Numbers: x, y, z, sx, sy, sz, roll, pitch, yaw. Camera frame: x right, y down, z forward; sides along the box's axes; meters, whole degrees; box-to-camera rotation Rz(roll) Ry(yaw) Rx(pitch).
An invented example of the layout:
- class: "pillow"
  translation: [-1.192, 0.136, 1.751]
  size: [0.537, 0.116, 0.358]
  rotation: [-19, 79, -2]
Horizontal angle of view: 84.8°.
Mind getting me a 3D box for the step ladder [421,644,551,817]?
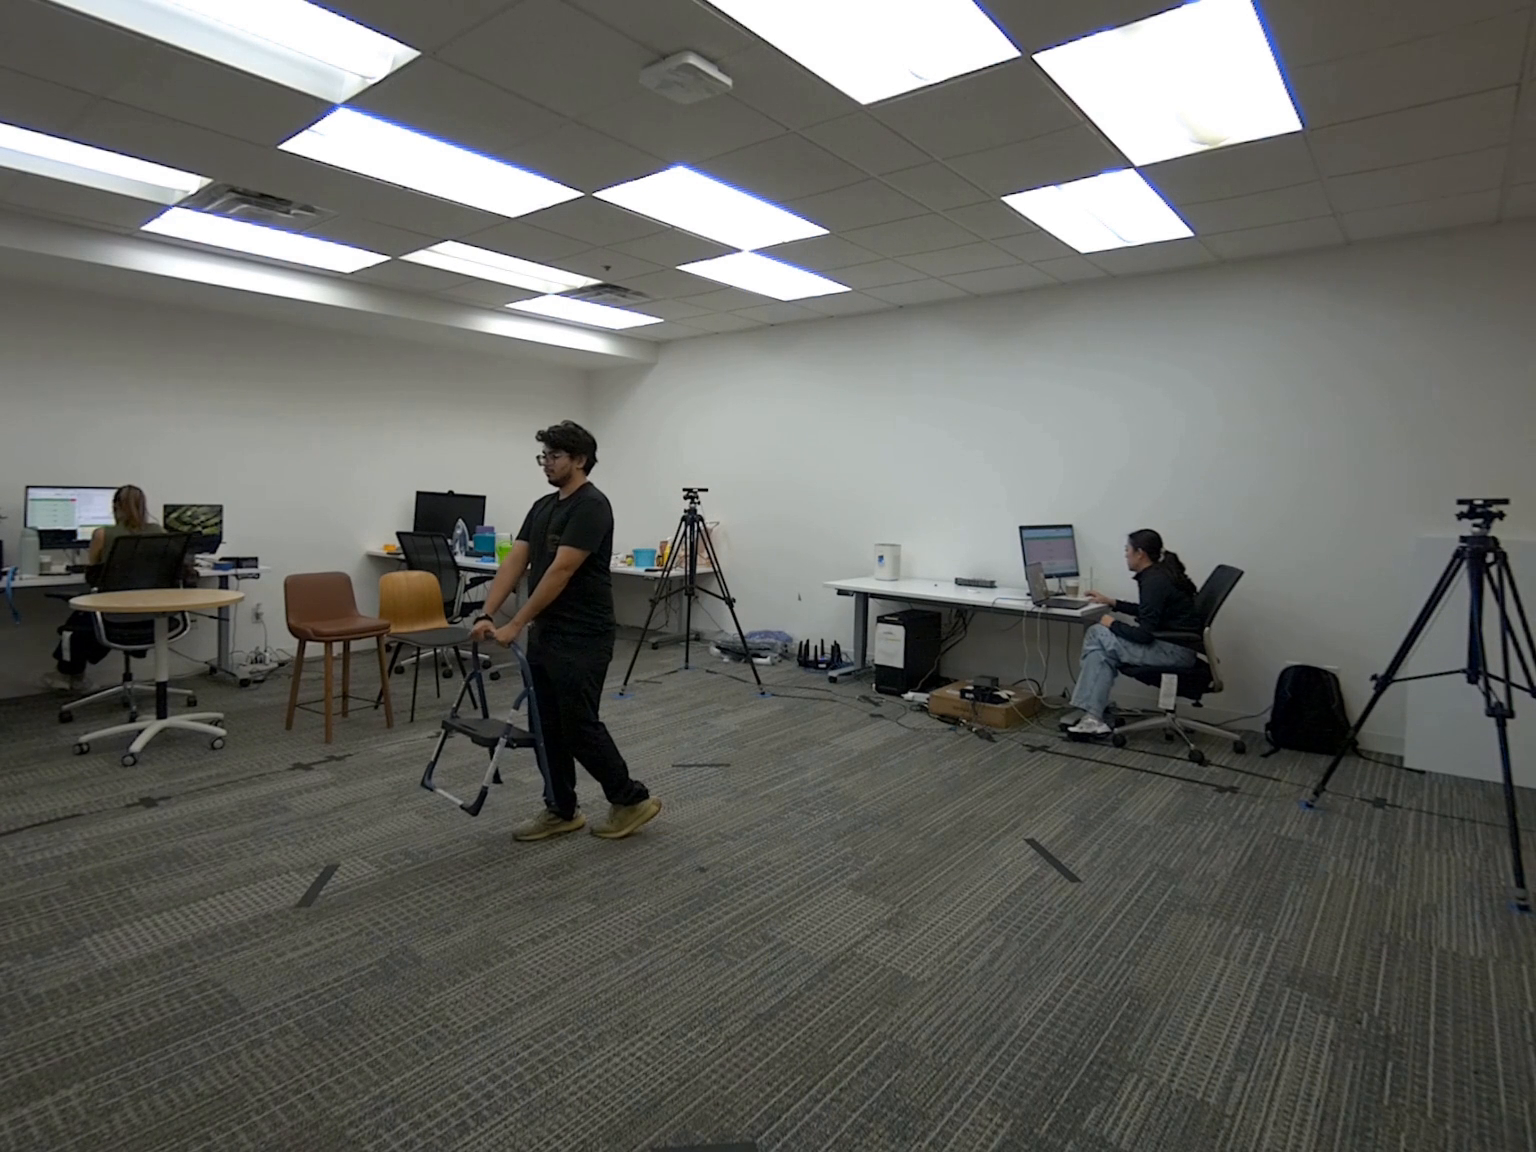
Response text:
- class: "step ladder"
  translation: [-1.017, 0.523, 3.168]
  size: [0.445, 0.608, 0.336]
  rotation: [4, -6, 43]
